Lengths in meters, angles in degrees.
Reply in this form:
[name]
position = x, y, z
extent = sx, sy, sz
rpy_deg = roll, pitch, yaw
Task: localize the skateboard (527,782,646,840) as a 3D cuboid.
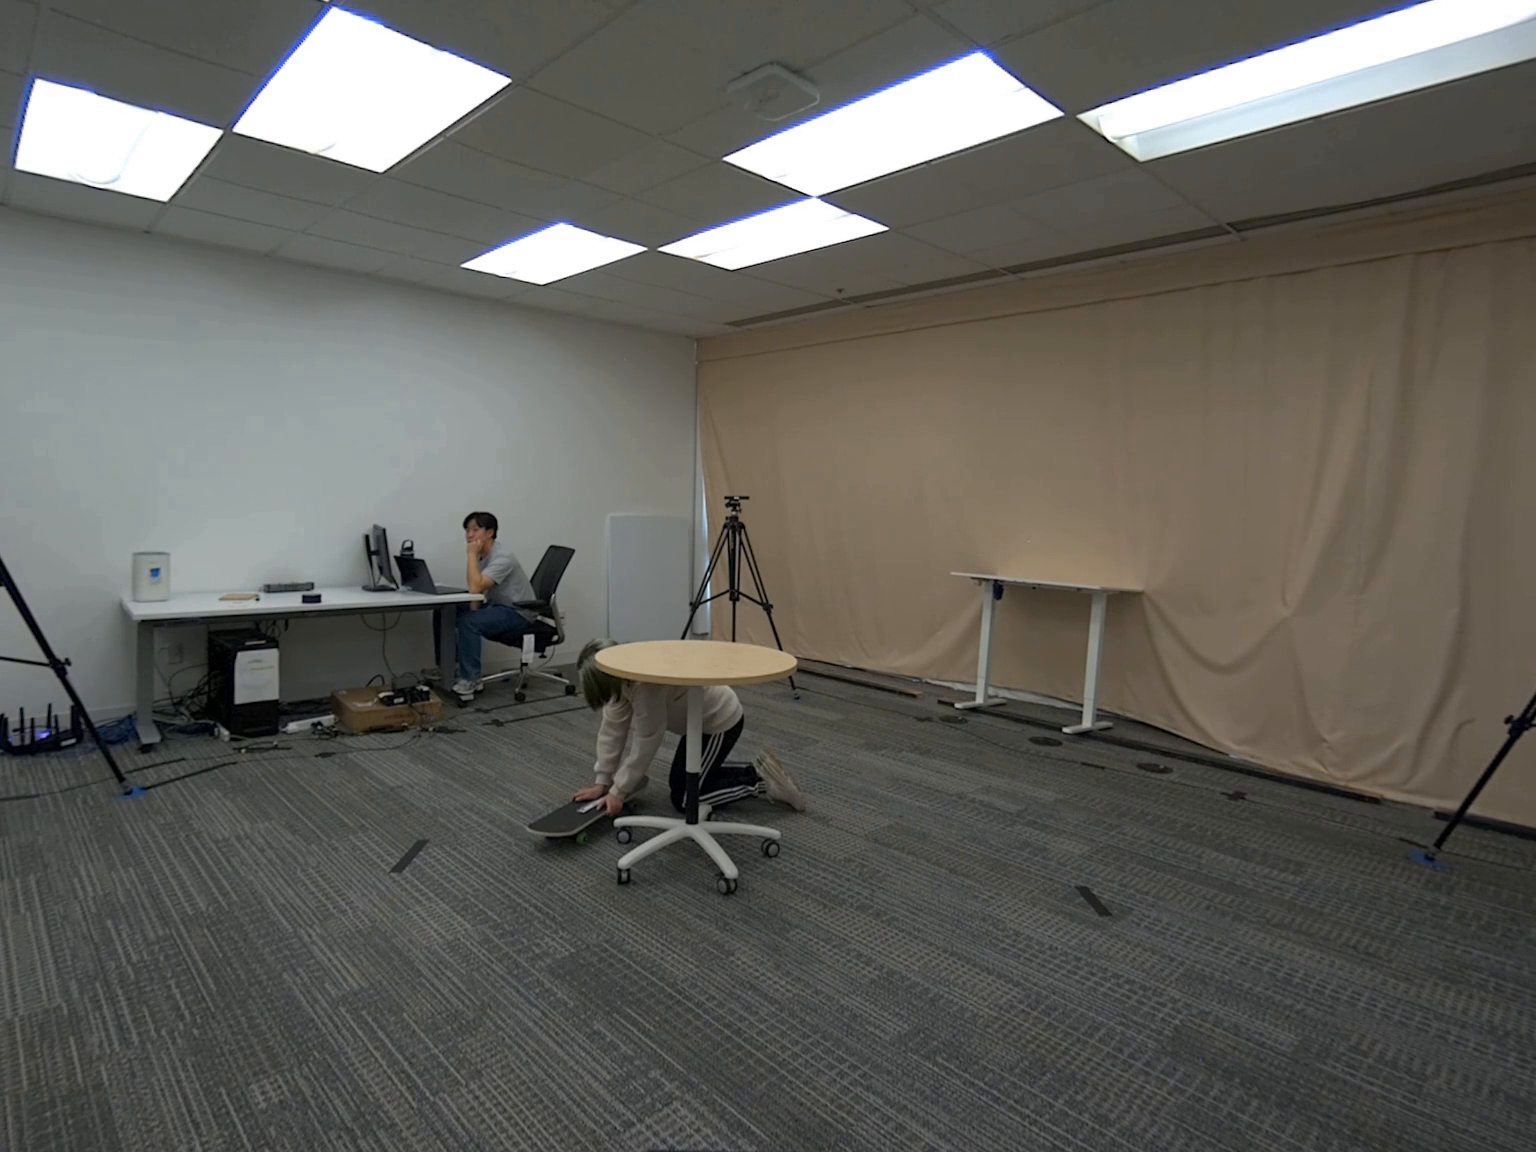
[skateboard]
position = -0.740, 0.986, 3.548
extent = 0.197, 0.110, 0.774
rpy_deg = 4, 5, 21
